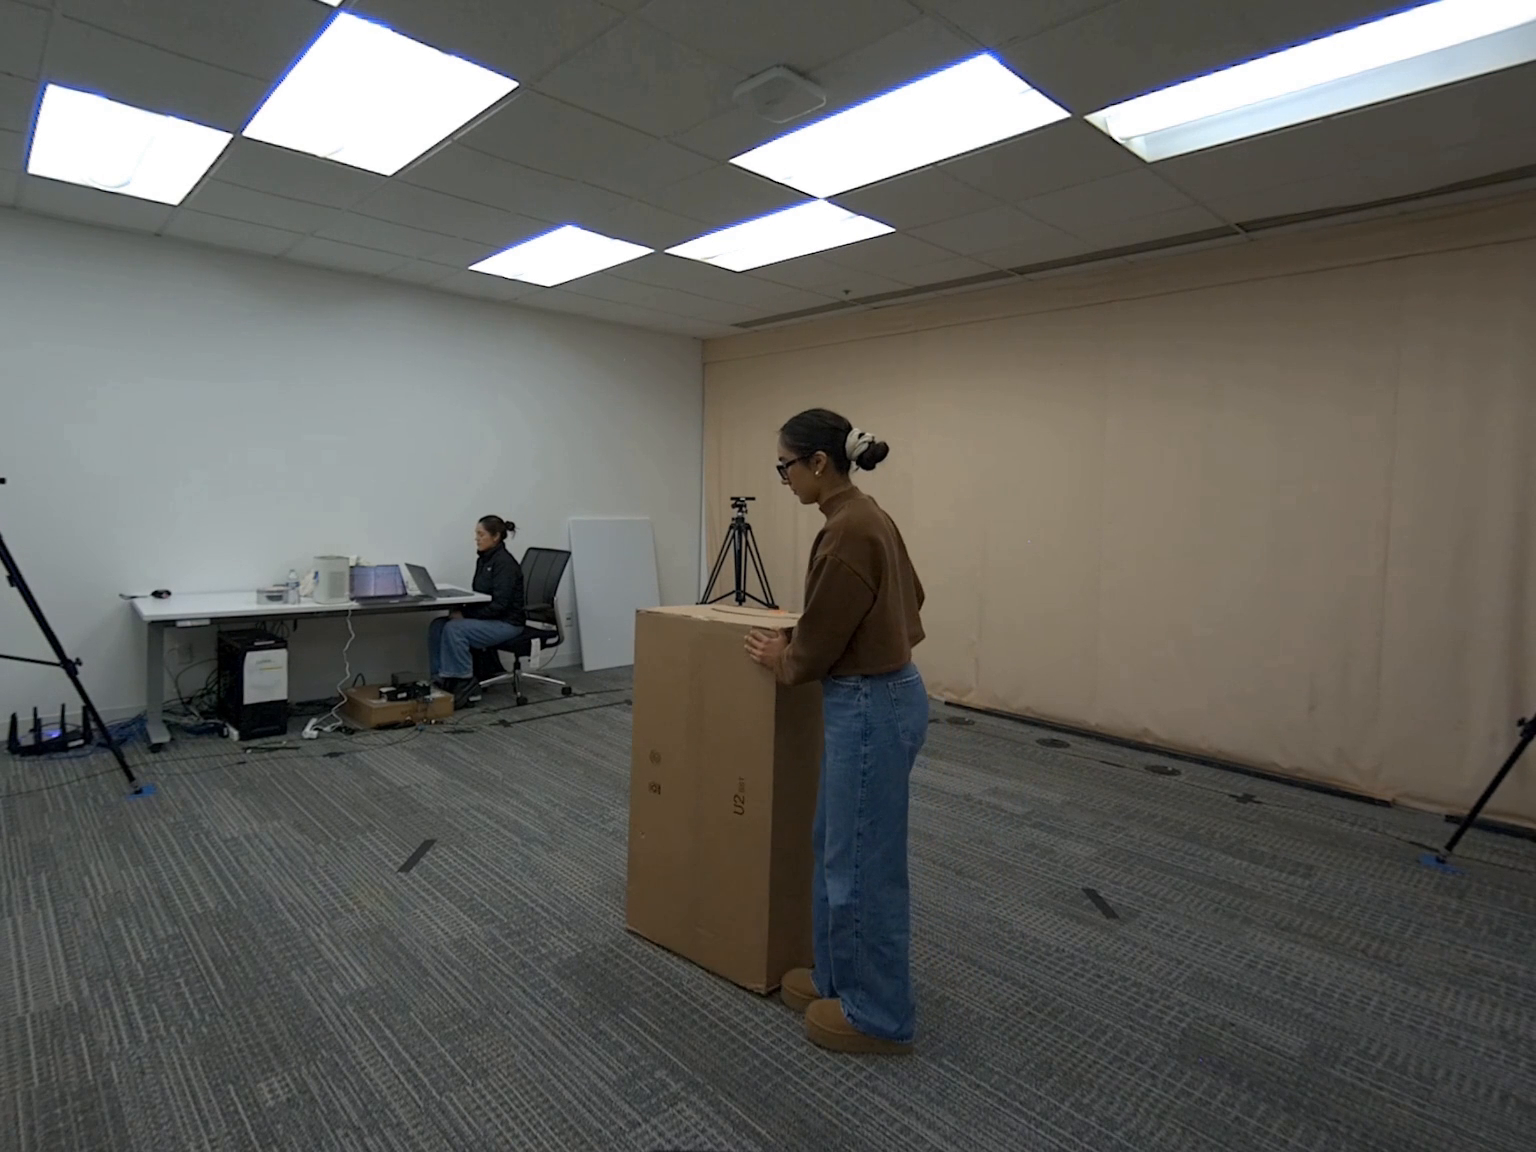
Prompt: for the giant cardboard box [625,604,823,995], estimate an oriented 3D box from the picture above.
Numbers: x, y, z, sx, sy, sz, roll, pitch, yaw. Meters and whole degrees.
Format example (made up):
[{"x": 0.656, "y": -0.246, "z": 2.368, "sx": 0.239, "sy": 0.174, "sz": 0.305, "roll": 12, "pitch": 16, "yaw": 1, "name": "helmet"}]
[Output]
[{"x": -0.094, "y": 0.635, "z": 2.666, "sx": 0.592, "sy": 1.025, "sz": 0.416, "roll": 3, "pitch": 2, "yaw": 40, "name": "giant cardboard box"}]
